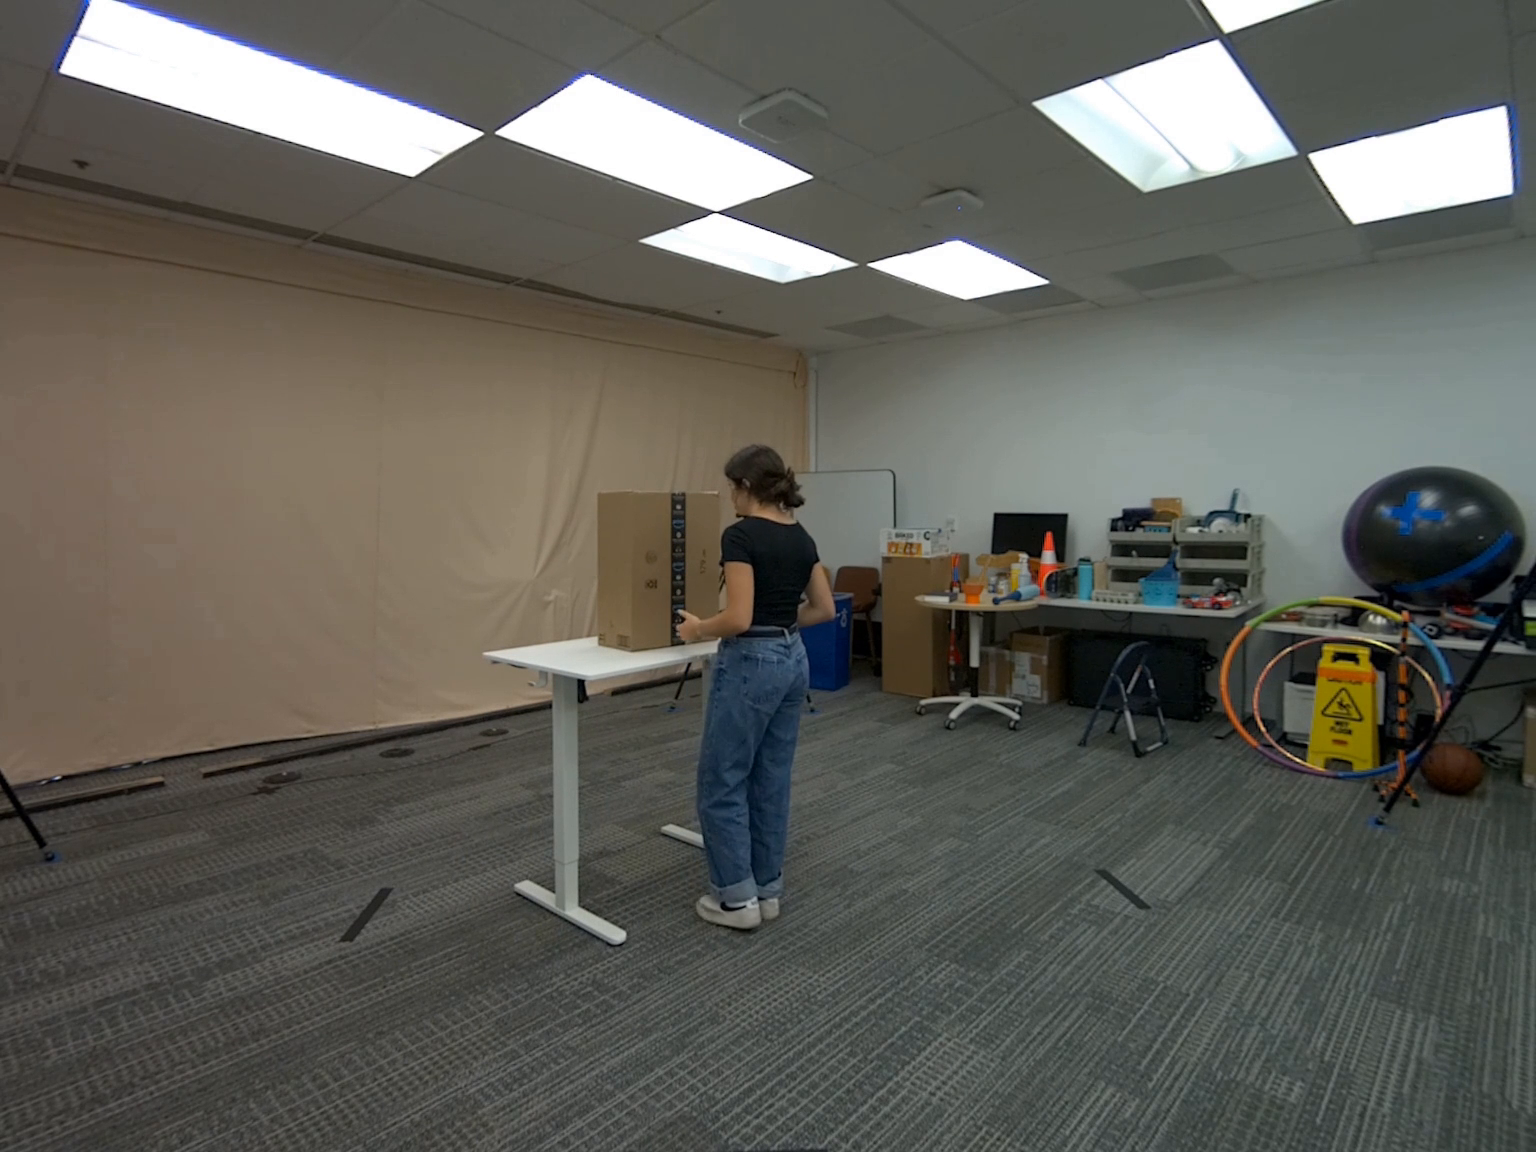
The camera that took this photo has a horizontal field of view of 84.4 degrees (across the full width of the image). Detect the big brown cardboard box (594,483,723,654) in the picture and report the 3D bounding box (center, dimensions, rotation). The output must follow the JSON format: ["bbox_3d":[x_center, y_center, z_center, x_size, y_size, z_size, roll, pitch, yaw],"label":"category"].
[{"bbox_3d":[-0.407,-0.039,3.153,0.404,0.588,0.241,-1,2,-42],"label":"big brown cardboard box"}]
